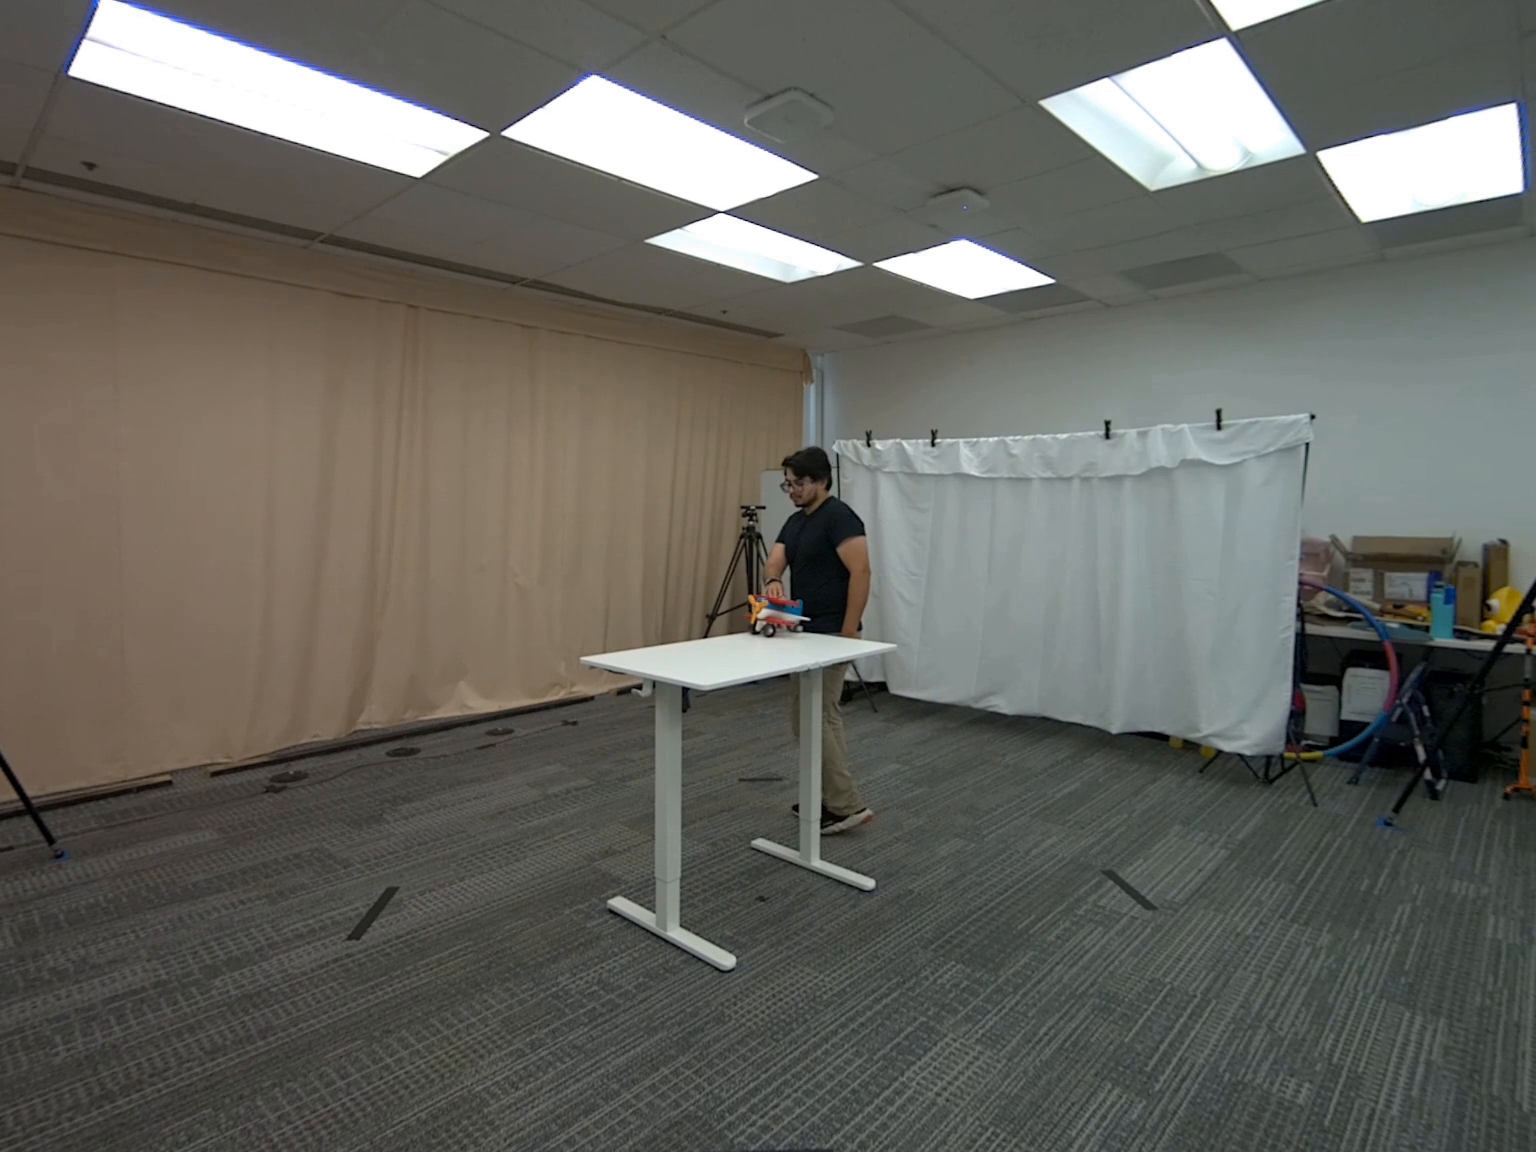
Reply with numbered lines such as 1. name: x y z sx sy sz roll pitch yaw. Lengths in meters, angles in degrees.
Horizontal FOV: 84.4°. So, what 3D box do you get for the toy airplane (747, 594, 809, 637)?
1. toy airplane: 0.024 0.154 3.360 0.257 0.156 0.254 3 6 22
